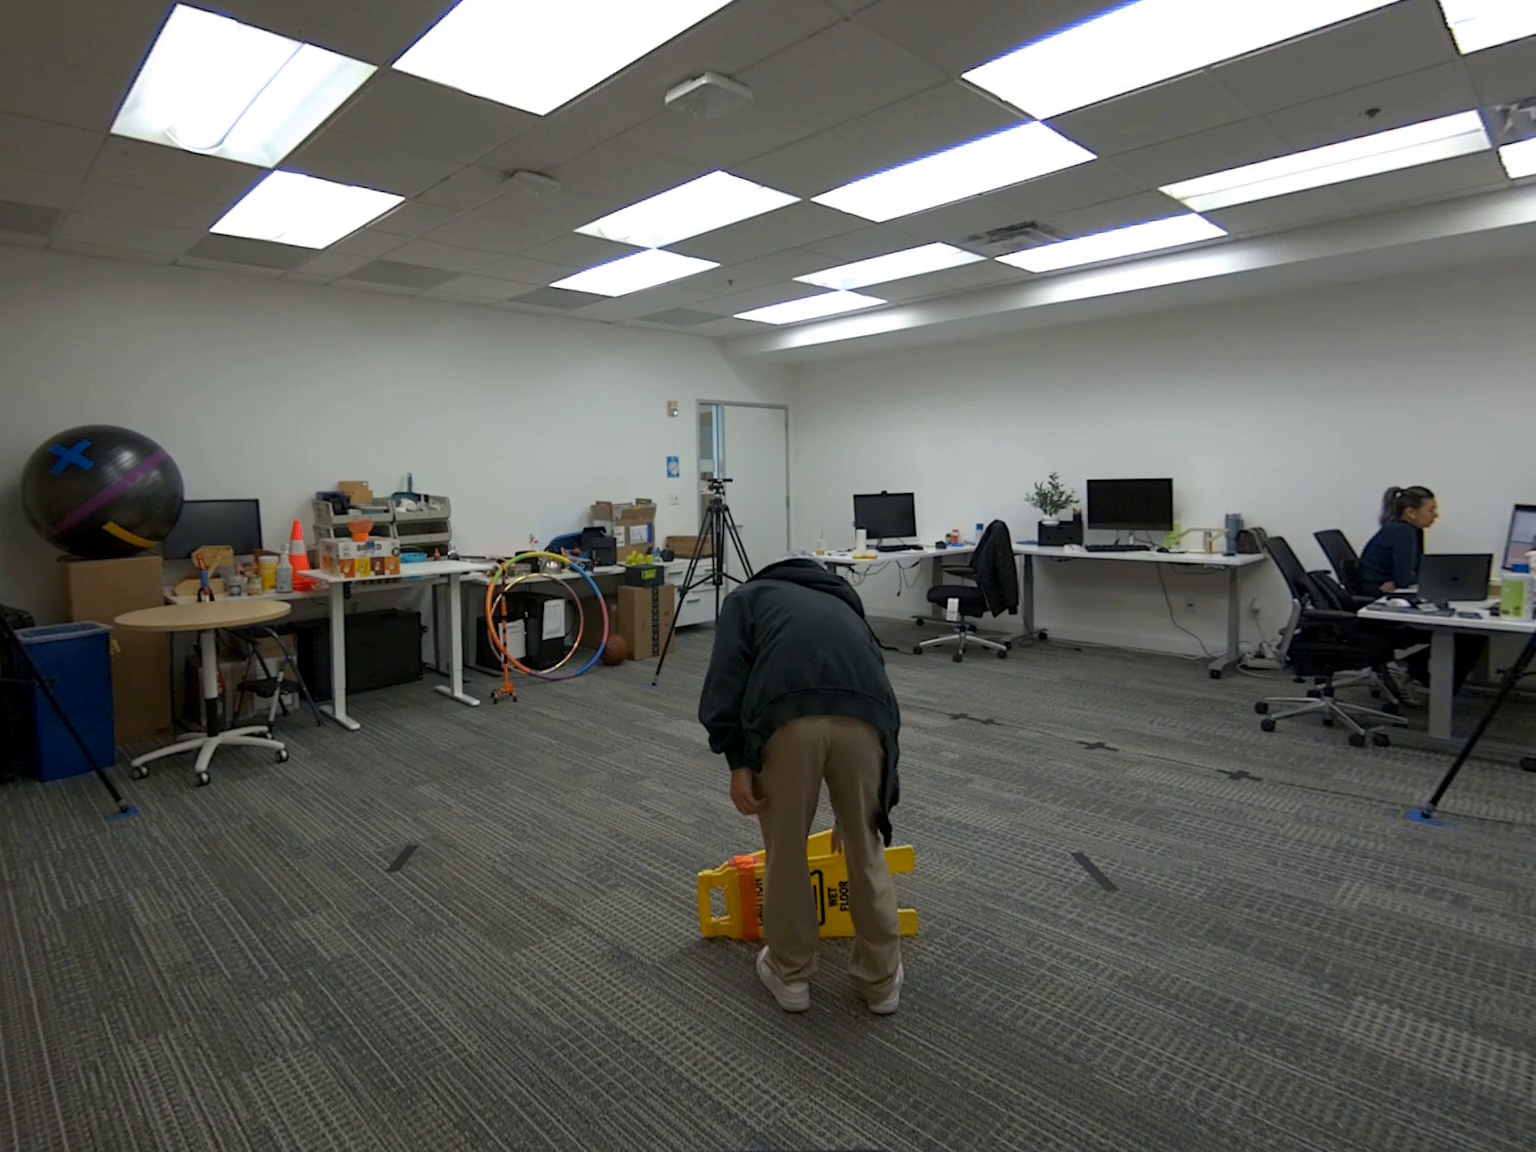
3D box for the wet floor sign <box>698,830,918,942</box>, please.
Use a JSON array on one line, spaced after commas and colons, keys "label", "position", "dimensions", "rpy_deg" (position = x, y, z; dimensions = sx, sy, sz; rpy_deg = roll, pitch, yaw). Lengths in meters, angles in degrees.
[{"label": "wet floor sign", "position": [0.111, 0.969, 2.645], "dimensions": [0.640, 0.281, 0.294], "rpy_deg": [-5, 5, -11]}]
